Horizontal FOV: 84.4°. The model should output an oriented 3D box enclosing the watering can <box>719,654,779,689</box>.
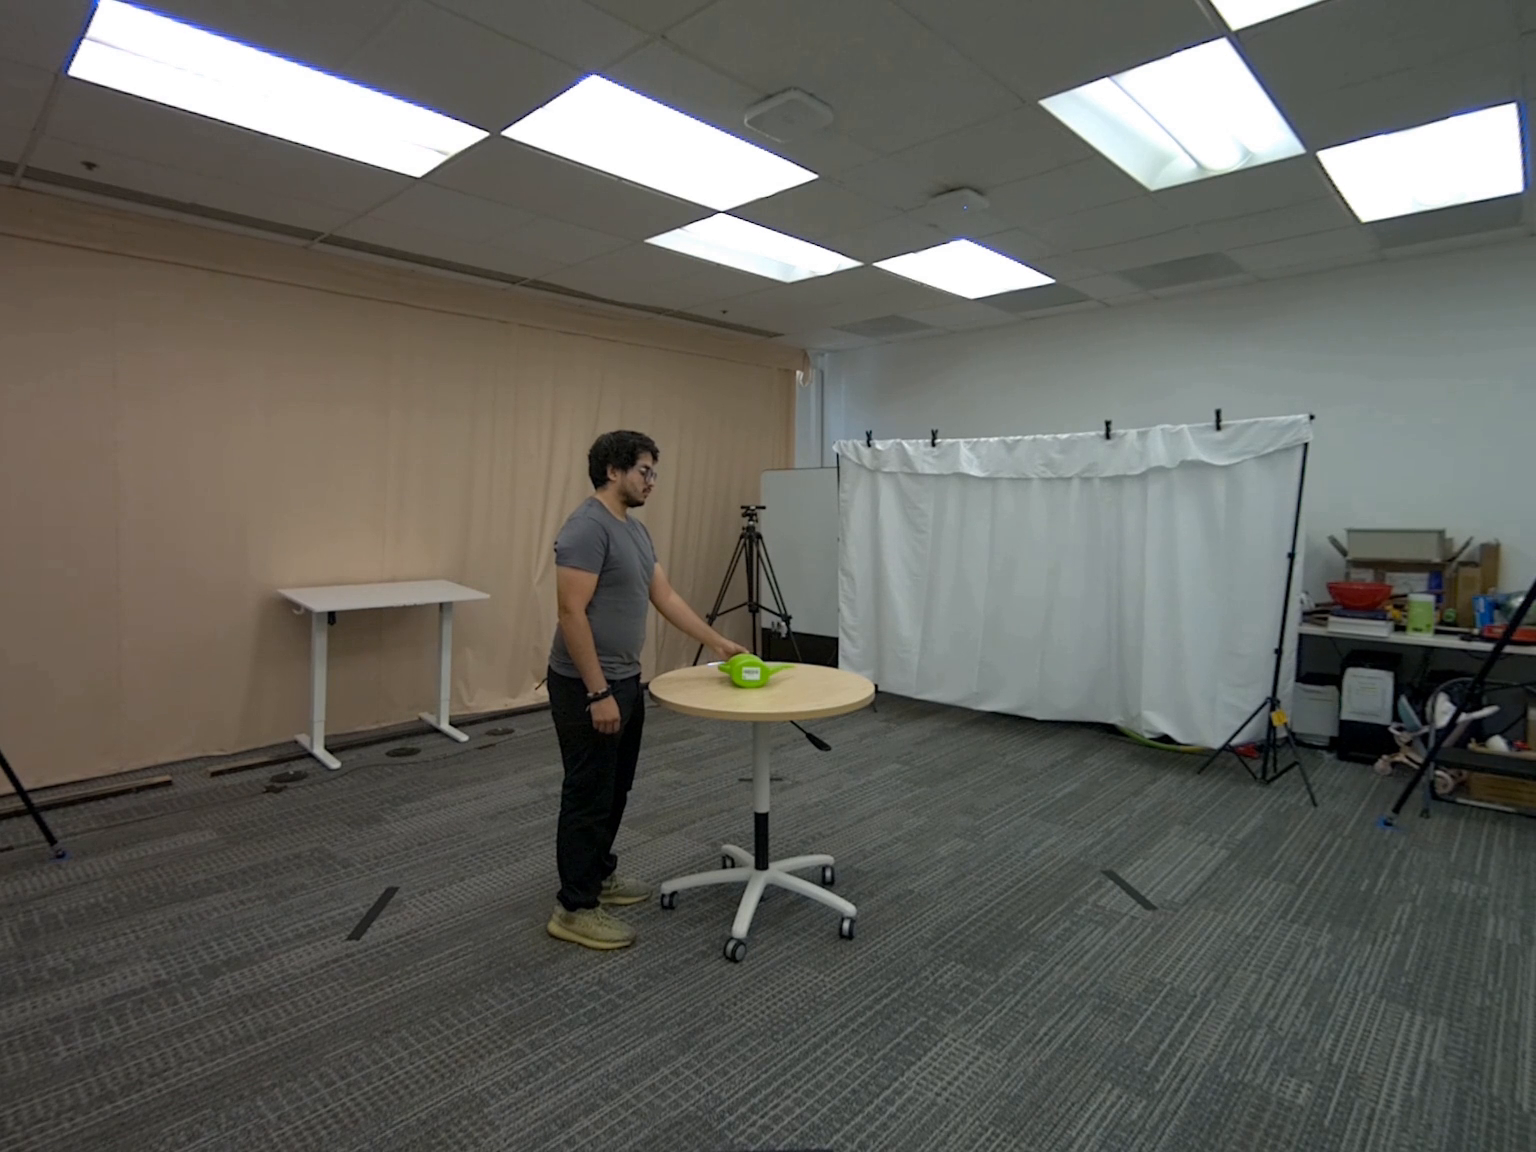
[{"bbox_3d":[-0.030,0.312,2.884,0.276,0.097,0.179,-6,8,-6],"label":"watering can"}]
